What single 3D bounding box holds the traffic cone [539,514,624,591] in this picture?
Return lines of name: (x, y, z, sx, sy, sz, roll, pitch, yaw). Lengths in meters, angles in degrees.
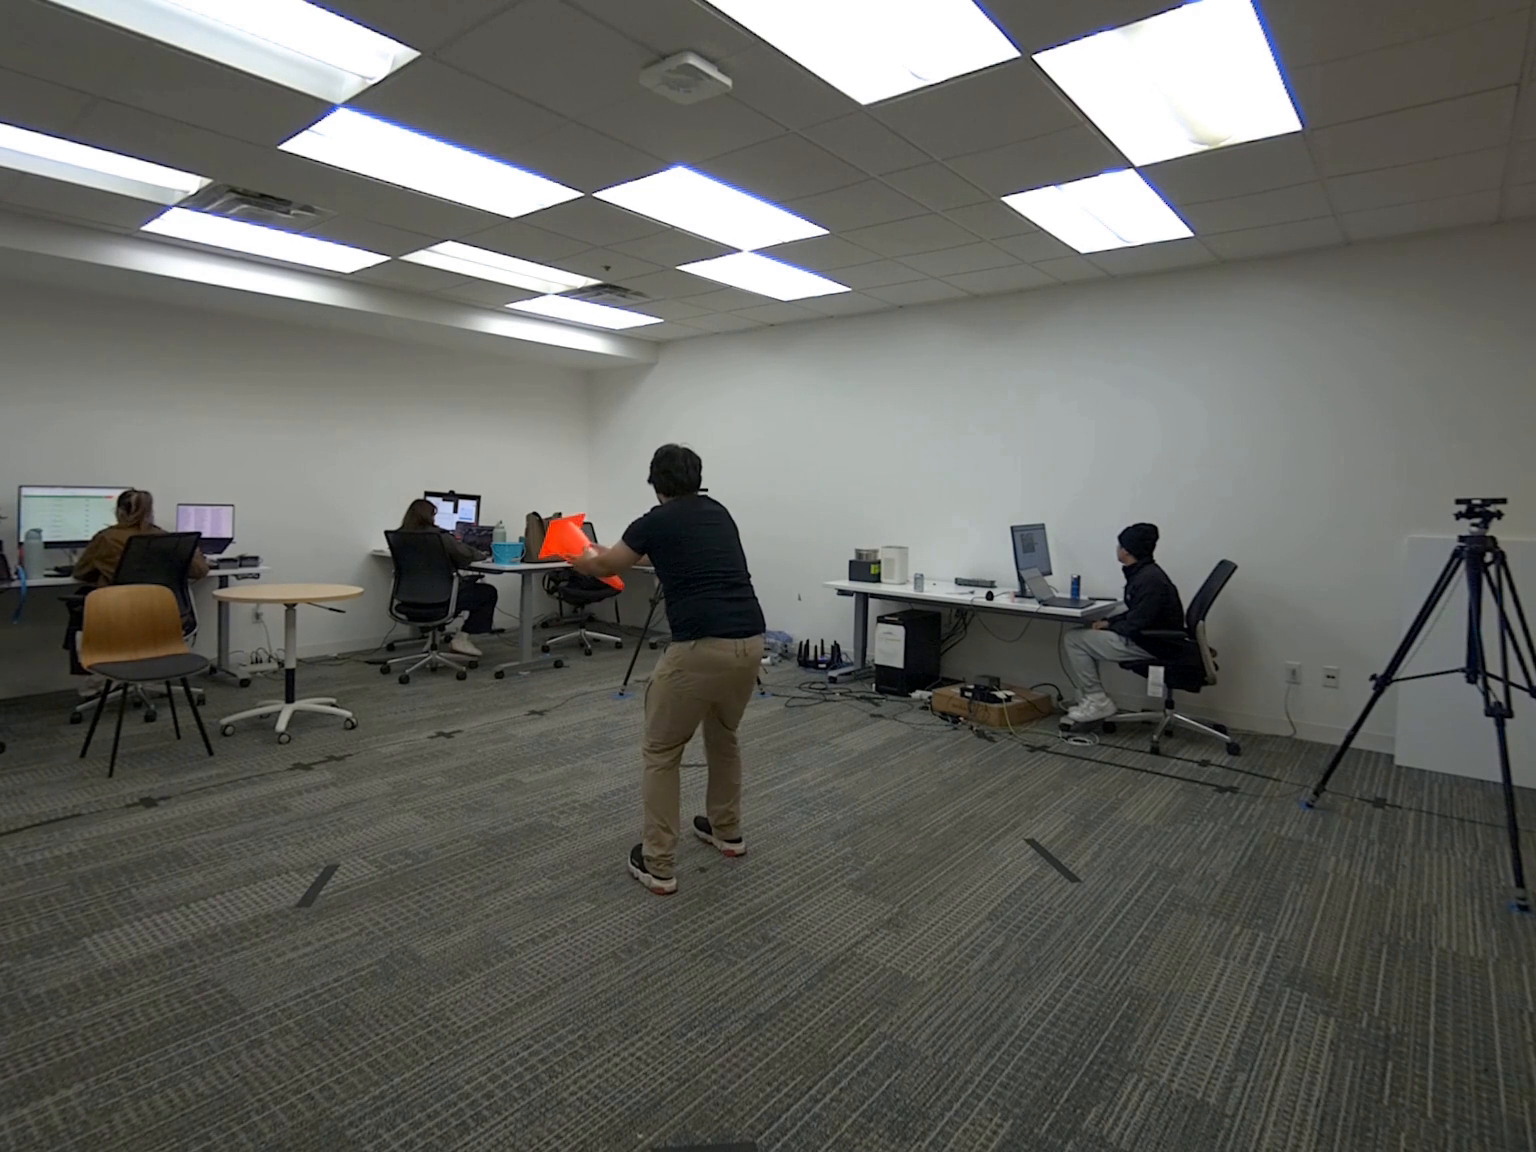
traffic cone: (-0.753, -0.054, 3.543, 0.397, 0.201, 0.200, 38, 31, 25)
